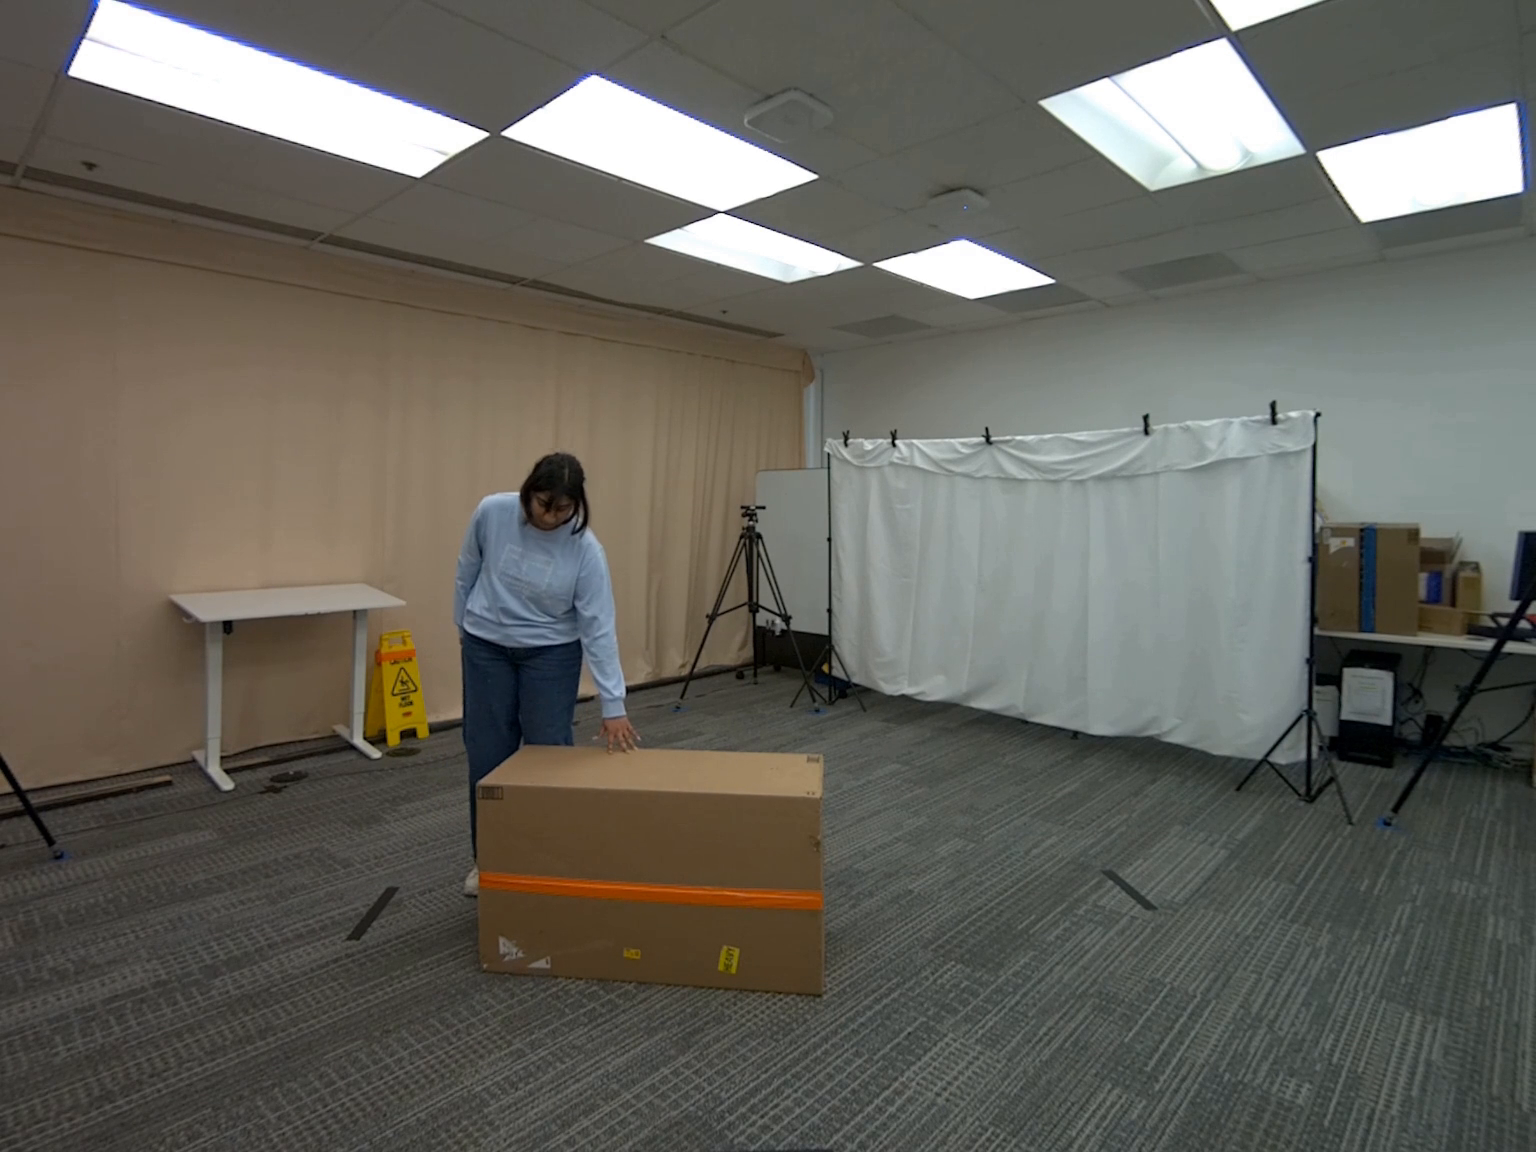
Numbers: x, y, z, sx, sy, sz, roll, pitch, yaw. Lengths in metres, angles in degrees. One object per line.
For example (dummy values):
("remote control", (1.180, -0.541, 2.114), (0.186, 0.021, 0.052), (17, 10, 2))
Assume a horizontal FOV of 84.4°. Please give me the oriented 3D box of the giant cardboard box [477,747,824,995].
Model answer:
("giant cardboard box", (-0.336, 0.882, 2.641), (1.034, 0.576, 0.423), (1, 4, 7))
